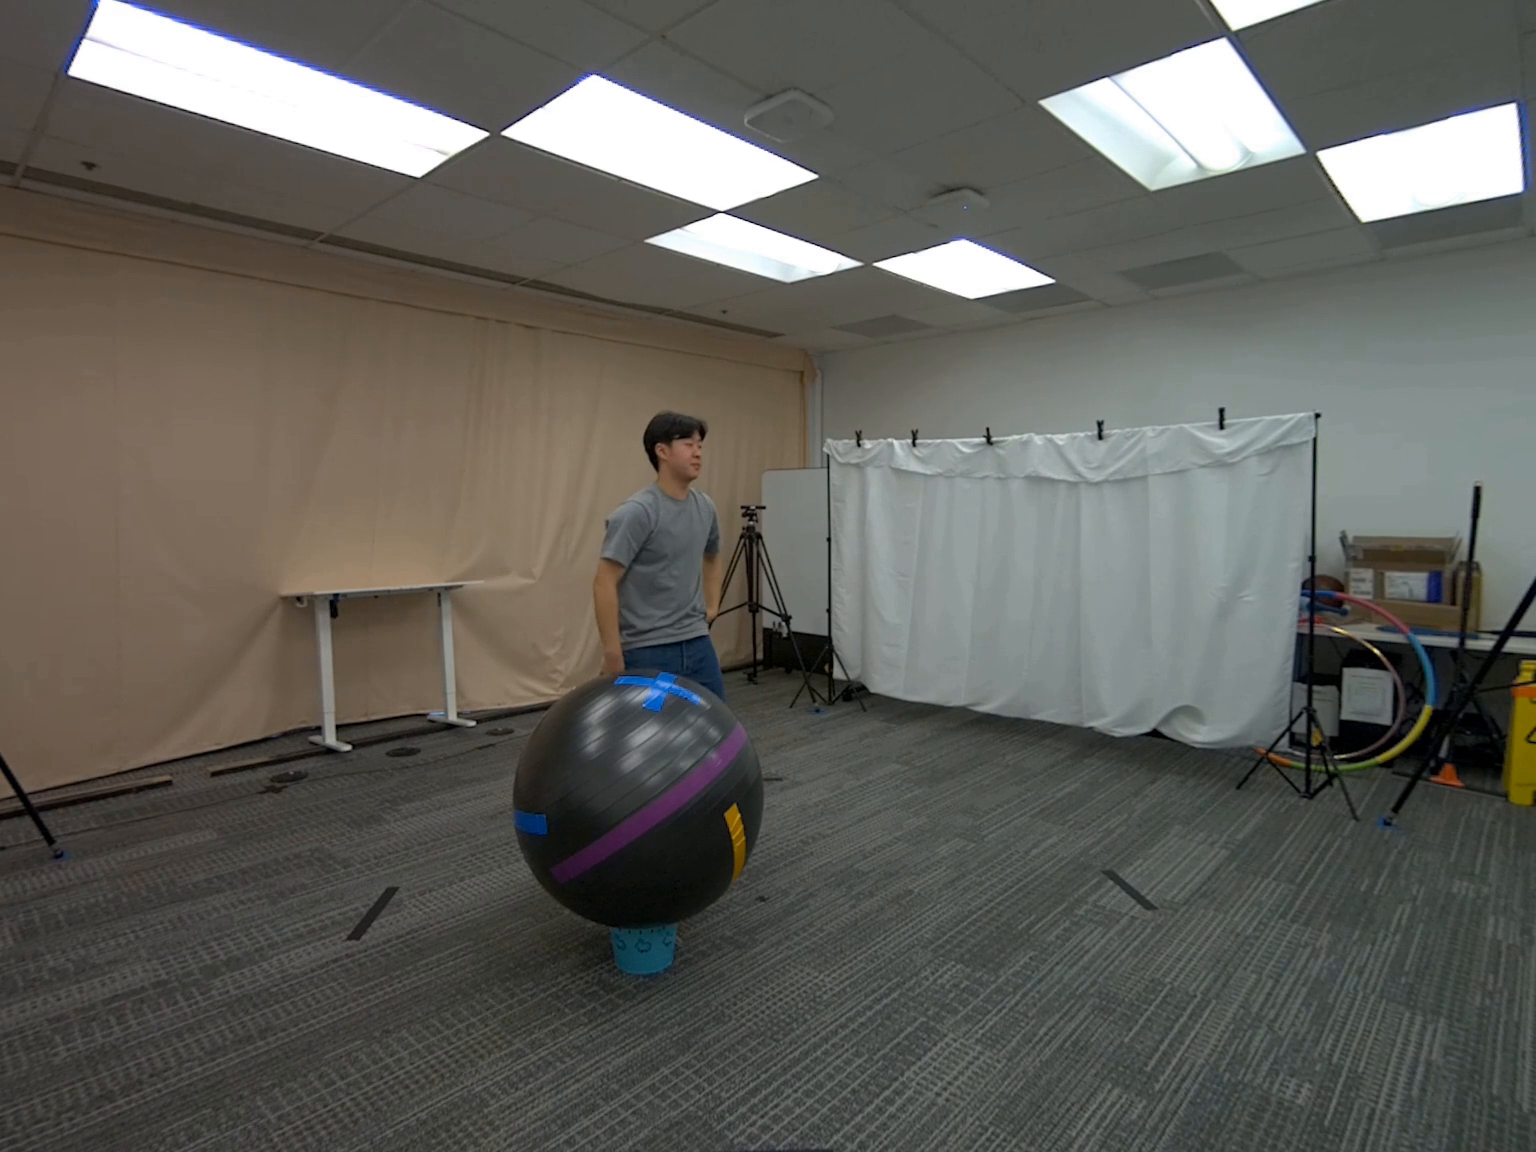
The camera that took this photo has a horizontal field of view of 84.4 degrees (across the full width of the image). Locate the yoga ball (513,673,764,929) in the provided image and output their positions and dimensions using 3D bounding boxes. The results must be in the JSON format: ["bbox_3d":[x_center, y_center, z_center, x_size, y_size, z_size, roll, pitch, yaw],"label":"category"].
[{"bbox_3d":[-0.397,0.673,2.572,0.757,0.756,0.761,0,4,-2],"label":"yoga ball"}]
